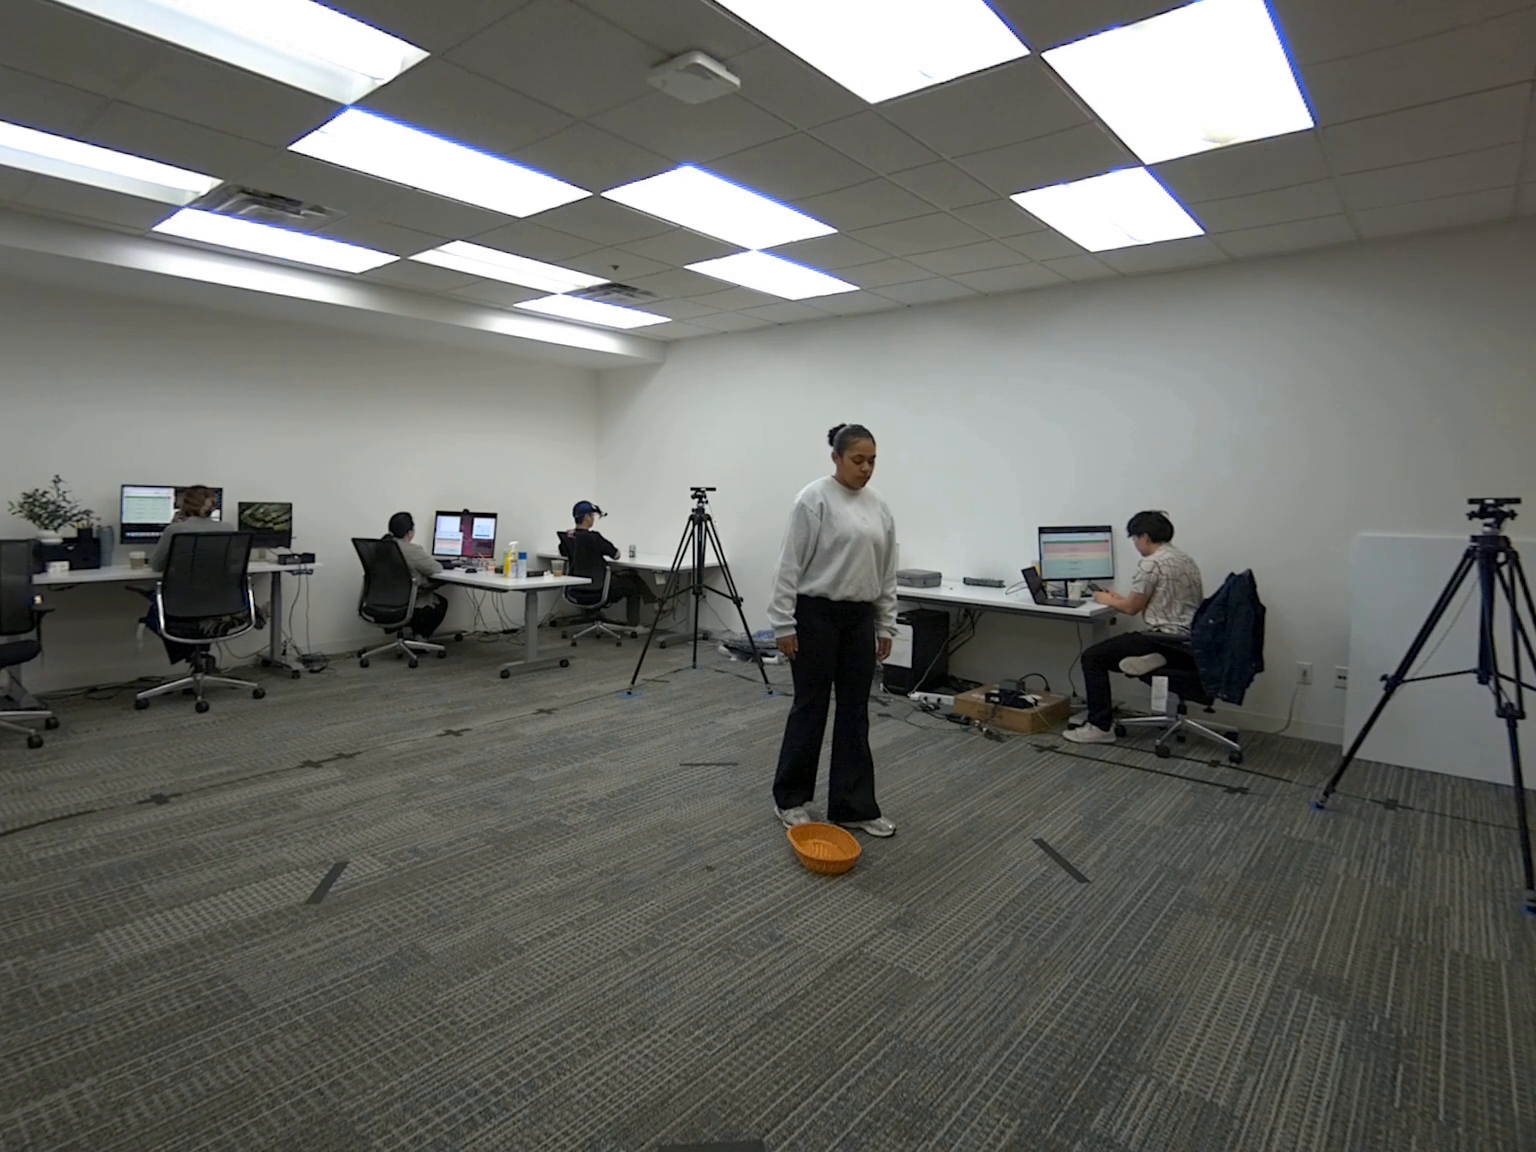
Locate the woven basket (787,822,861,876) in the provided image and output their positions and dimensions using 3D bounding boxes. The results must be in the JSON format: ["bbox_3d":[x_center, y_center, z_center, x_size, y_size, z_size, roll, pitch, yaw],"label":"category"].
[{"bbox_3d":[0.197,1.024,3.213,0.249,0.073,0.356,0,5,-13],"label":"woven basket"}]
